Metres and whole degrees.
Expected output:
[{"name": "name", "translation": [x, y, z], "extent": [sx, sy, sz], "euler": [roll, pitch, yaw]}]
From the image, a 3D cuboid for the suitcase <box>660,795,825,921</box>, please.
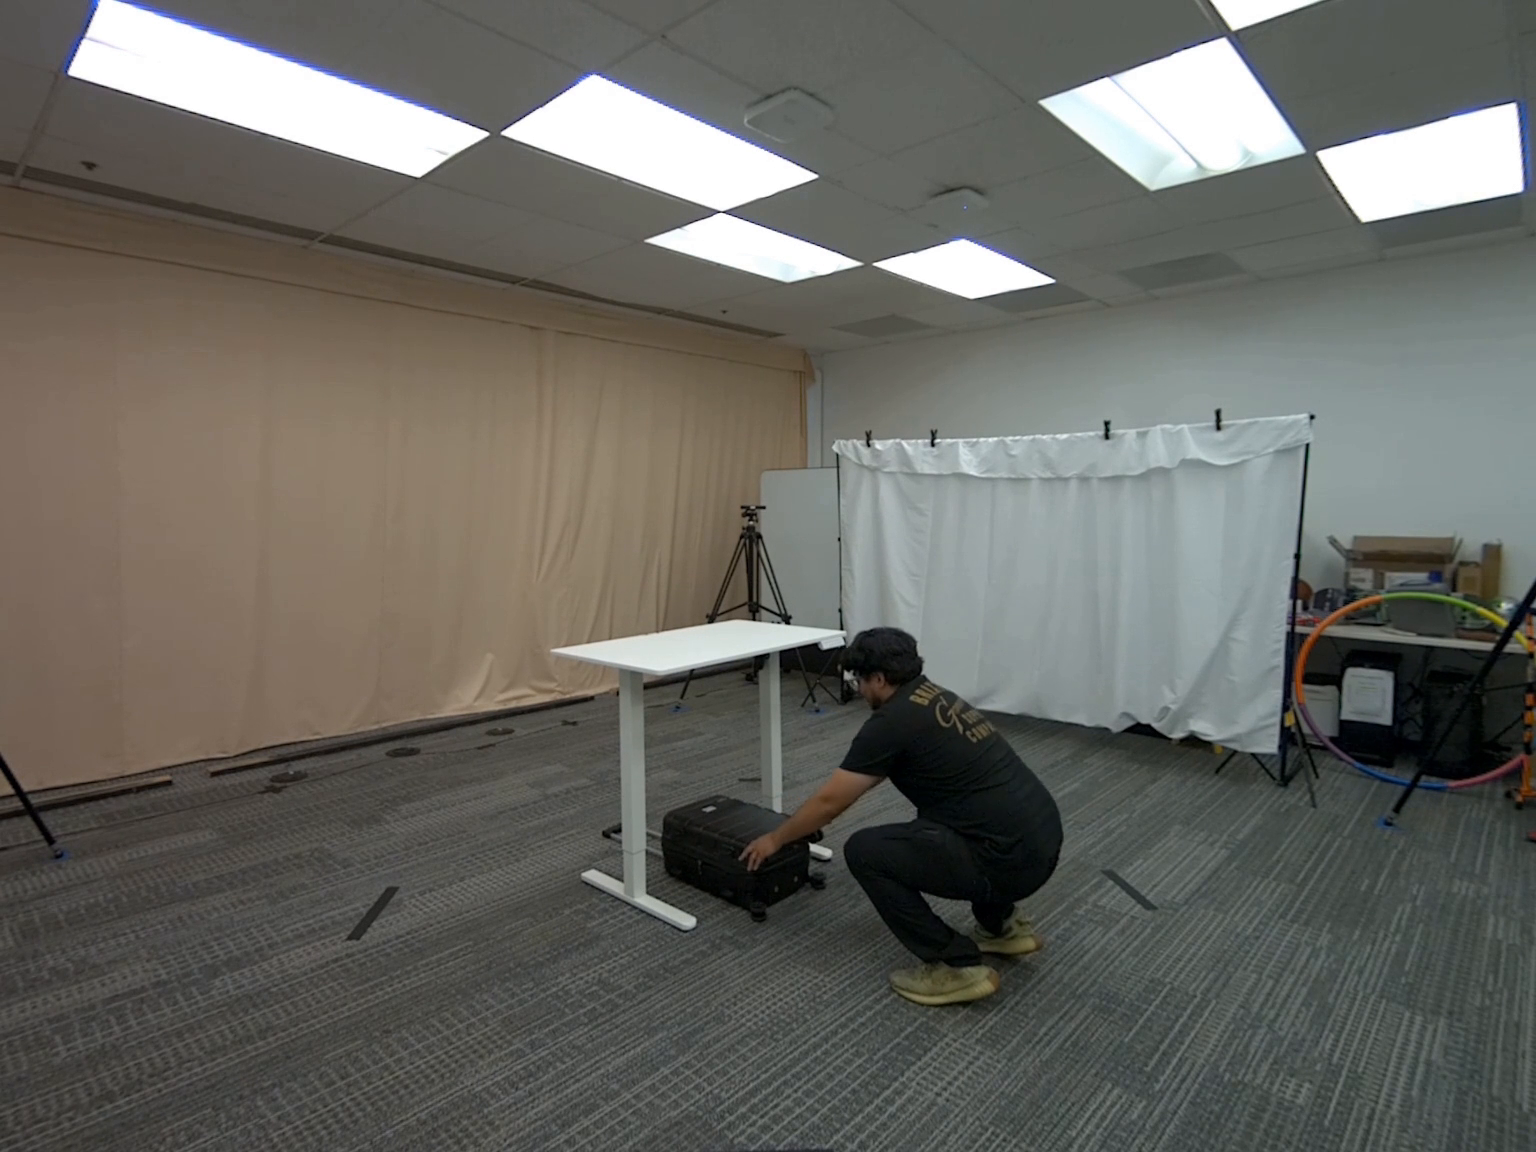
[{"name": "suitcase", "translation": [-0.274, 1.000, 3.264], "extent": [1.012, 0.256, 0.372], "euler": [5, 8, 42]}]
